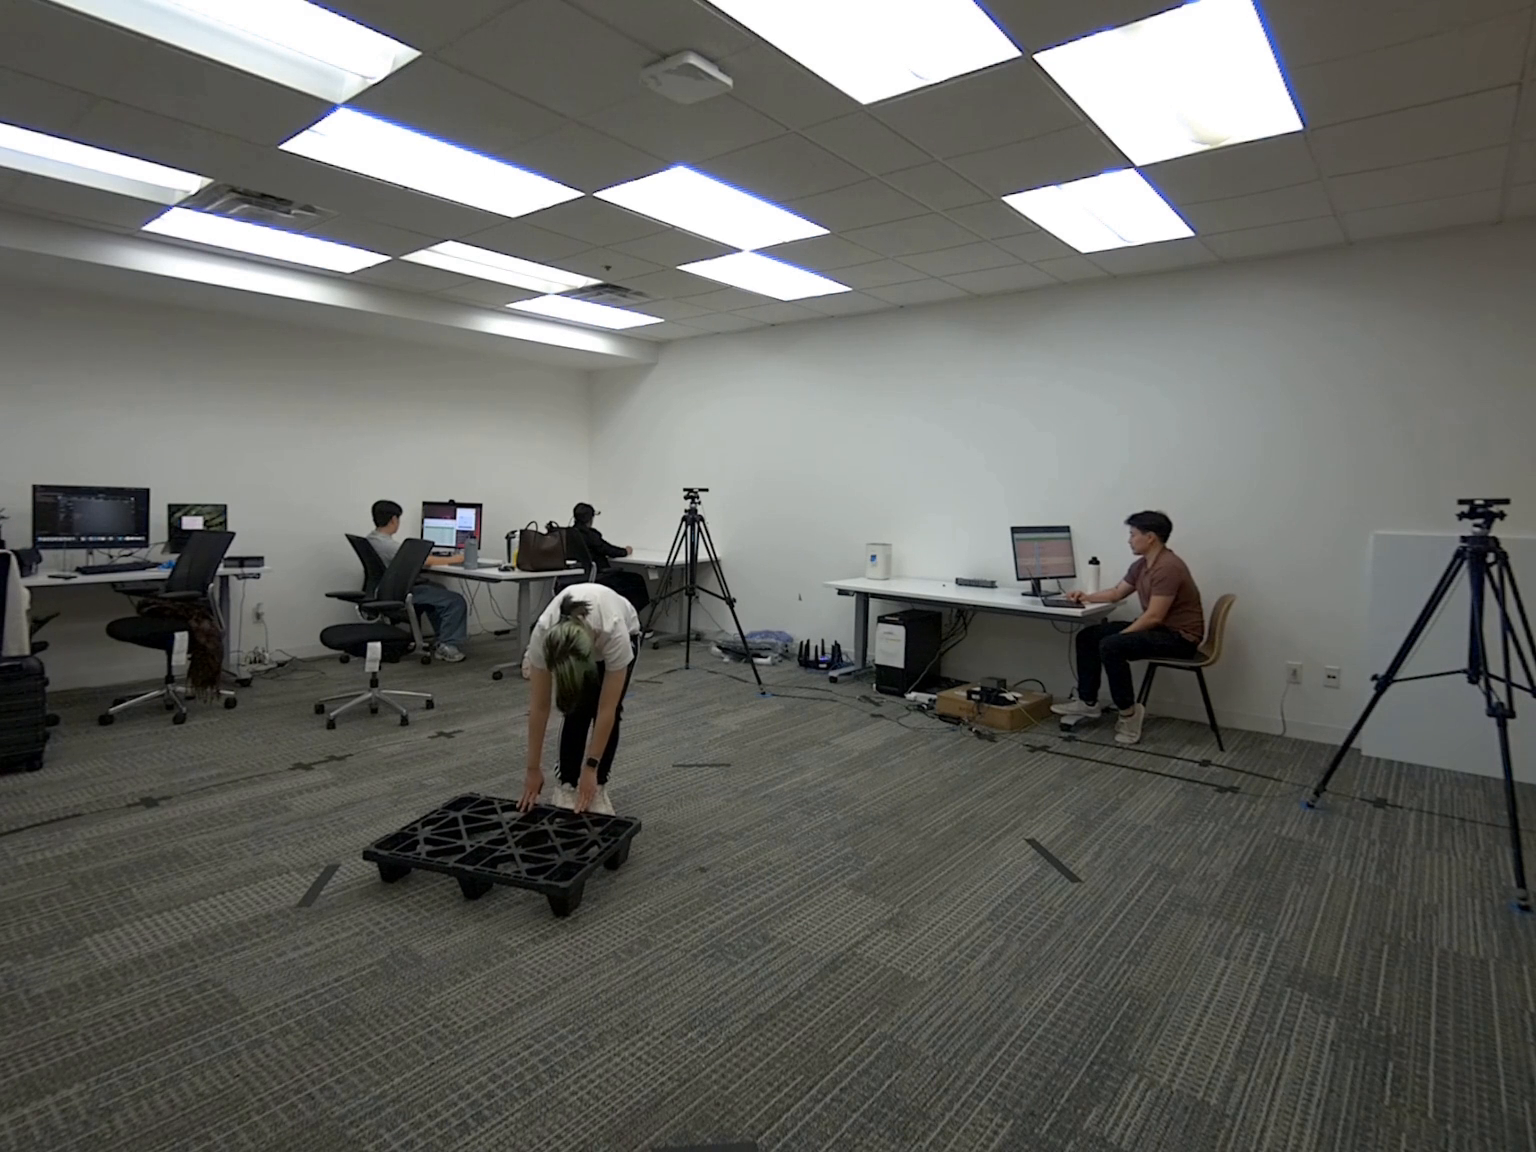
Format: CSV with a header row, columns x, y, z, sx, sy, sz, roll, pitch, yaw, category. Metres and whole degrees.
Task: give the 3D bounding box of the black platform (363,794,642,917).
x,y,z,sx,sy,sz,roll,pitch,yaw,category
-0.951,0.990,3.079,0.822,0.143,0.596,3,6,17,black platform
